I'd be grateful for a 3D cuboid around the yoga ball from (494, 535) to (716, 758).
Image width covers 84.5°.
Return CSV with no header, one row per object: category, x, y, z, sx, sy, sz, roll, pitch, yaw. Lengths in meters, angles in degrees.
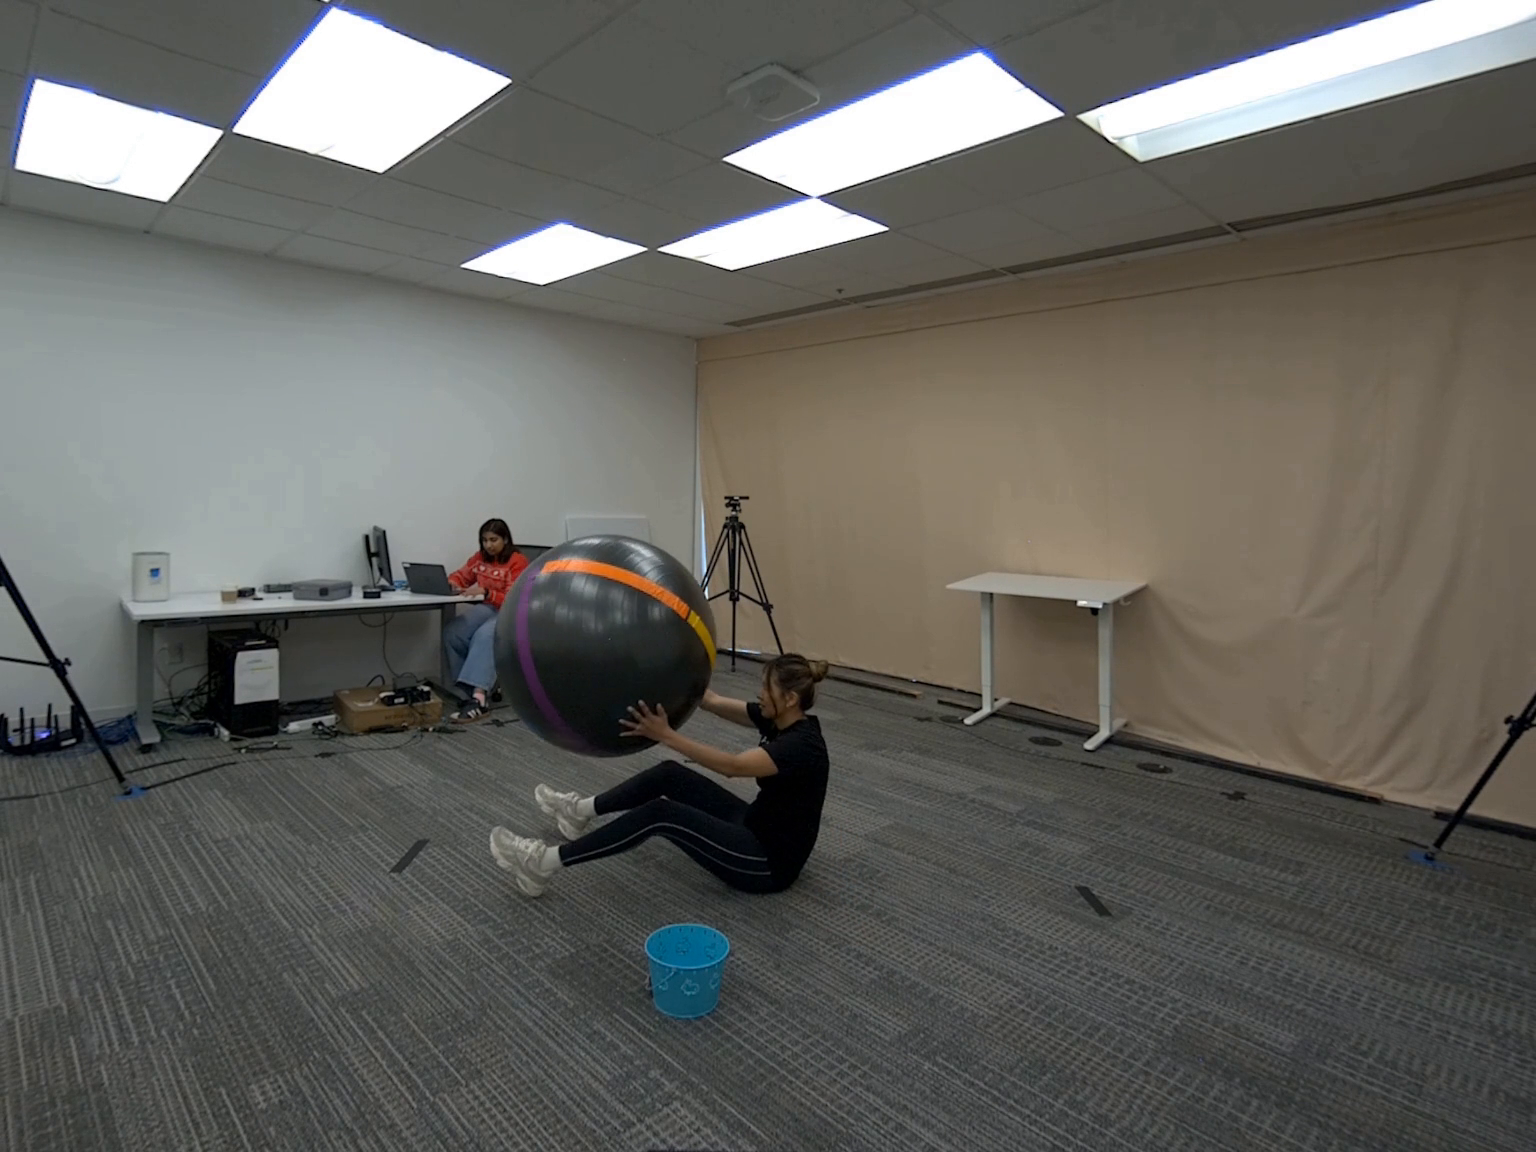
yoga ball,-0.555,0.252,2.884,0.757,0.756,0.761,1,4,-1
